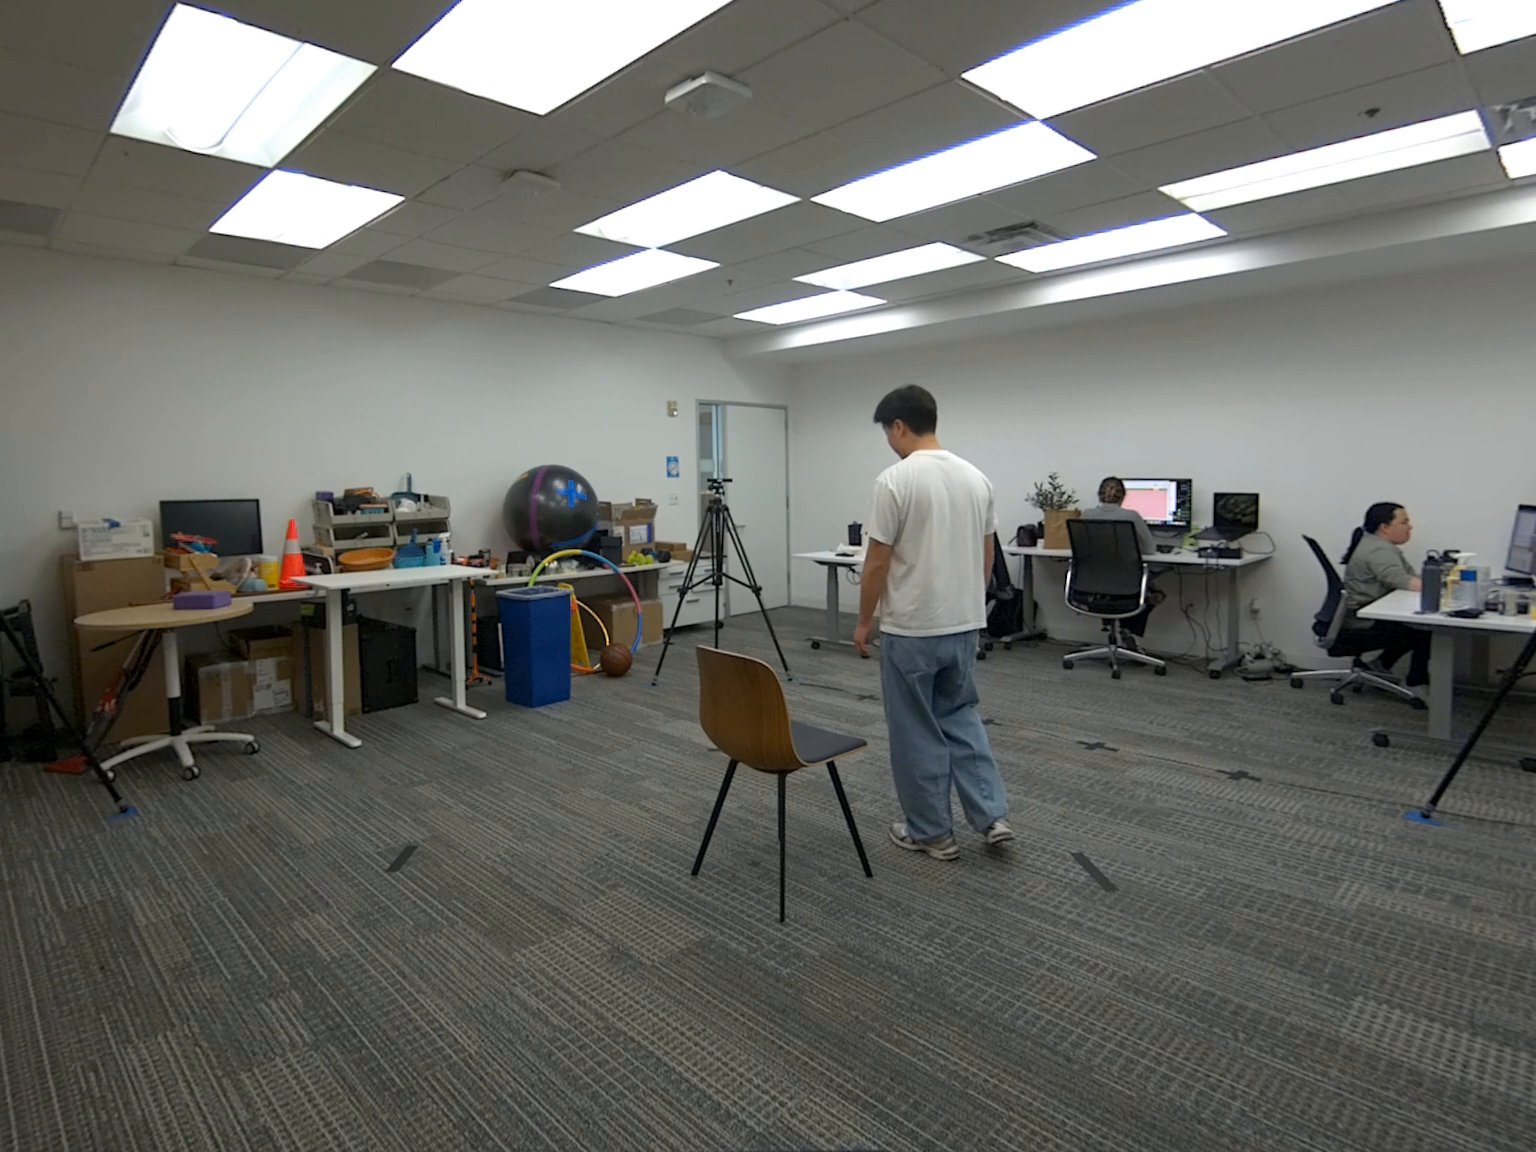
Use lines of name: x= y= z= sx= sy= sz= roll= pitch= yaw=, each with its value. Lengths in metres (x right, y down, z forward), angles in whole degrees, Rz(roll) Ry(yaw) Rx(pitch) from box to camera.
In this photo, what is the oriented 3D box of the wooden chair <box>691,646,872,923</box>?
wooden chair: x=0.050 y=0.633 z=2.970 sx=0.511 sy=0.871 sz=0.493 roll=-10 pitch=10 yaw=-43
